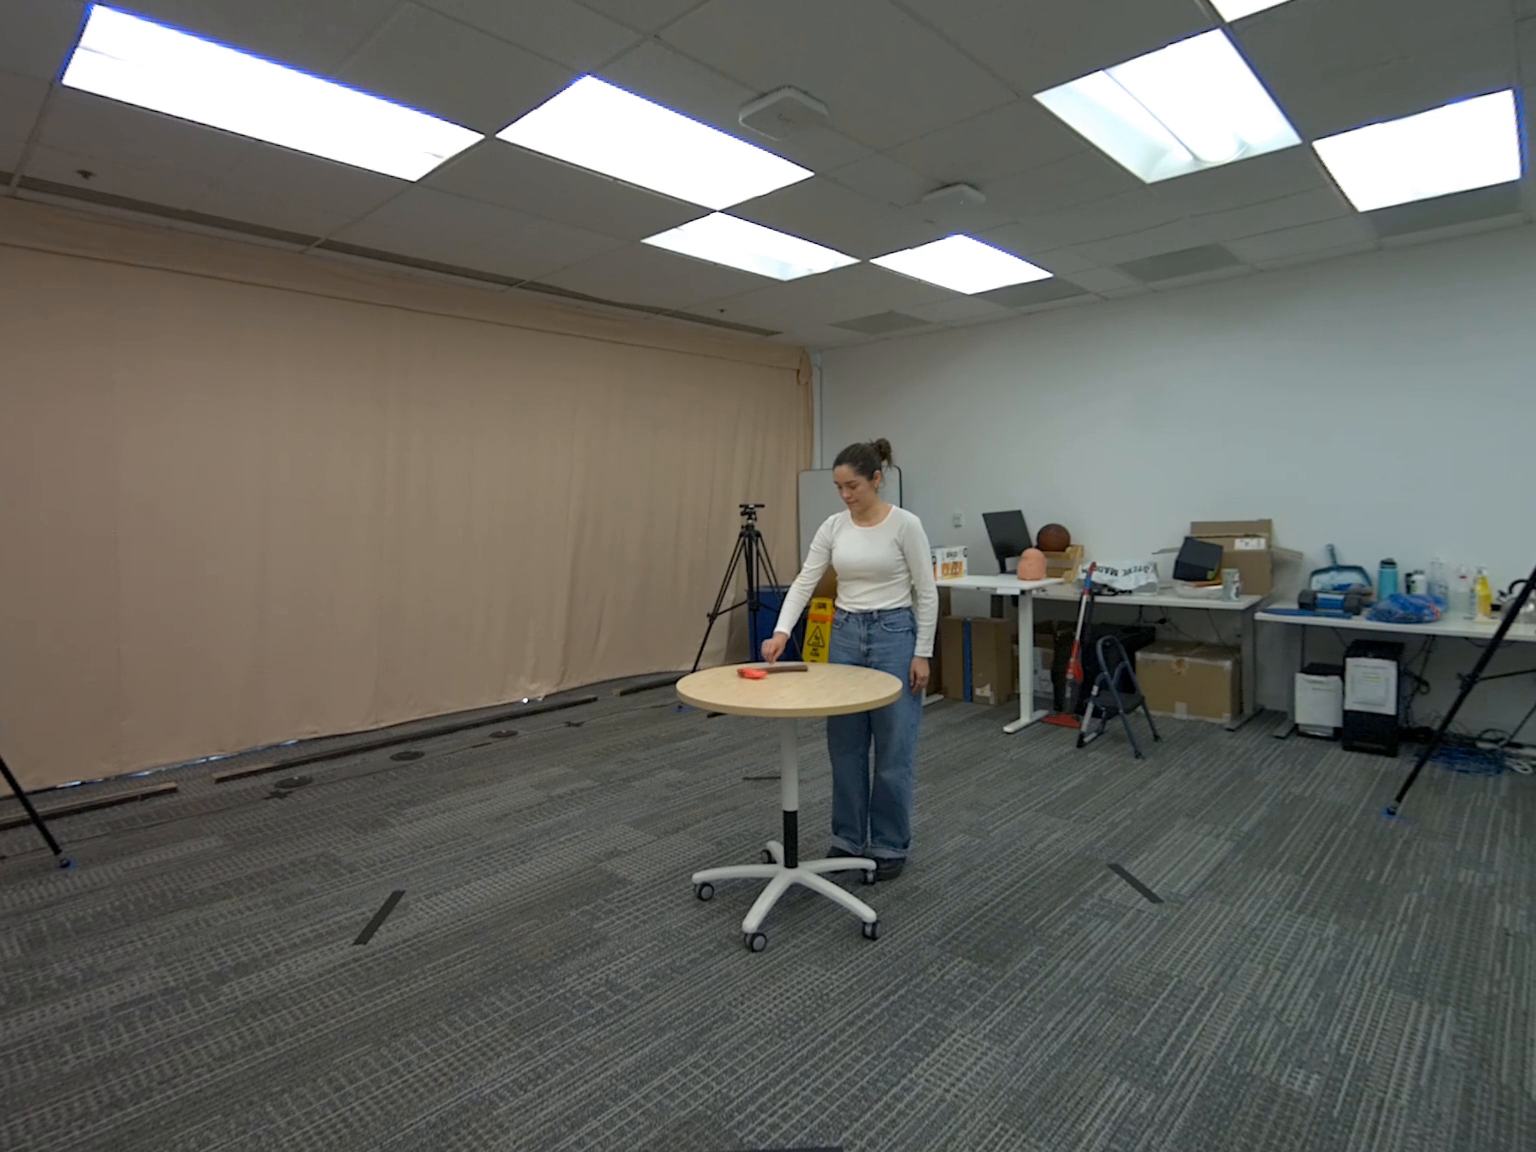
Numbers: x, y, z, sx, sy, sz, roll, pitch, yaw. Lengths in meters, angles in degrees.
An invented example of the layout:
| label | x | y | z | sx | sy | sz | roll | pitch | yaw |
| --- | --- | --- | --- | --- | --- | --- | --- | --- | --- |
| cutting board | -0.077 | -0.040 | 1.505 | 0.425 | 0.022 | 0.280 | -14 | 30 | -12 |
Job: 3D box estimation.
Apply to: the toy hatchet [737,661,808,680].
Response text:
| label | x | y | z | sx | sy | sz | roll | pitch | yaw |
| --- | --- | --- | --- | --- | --- | --- | --- | --- | --- |
| toy hatchet | 0.028 | 0.341 | 3.008 | 0.266 | 0.029 | 0.133 | 0 | 3 | -13 |
